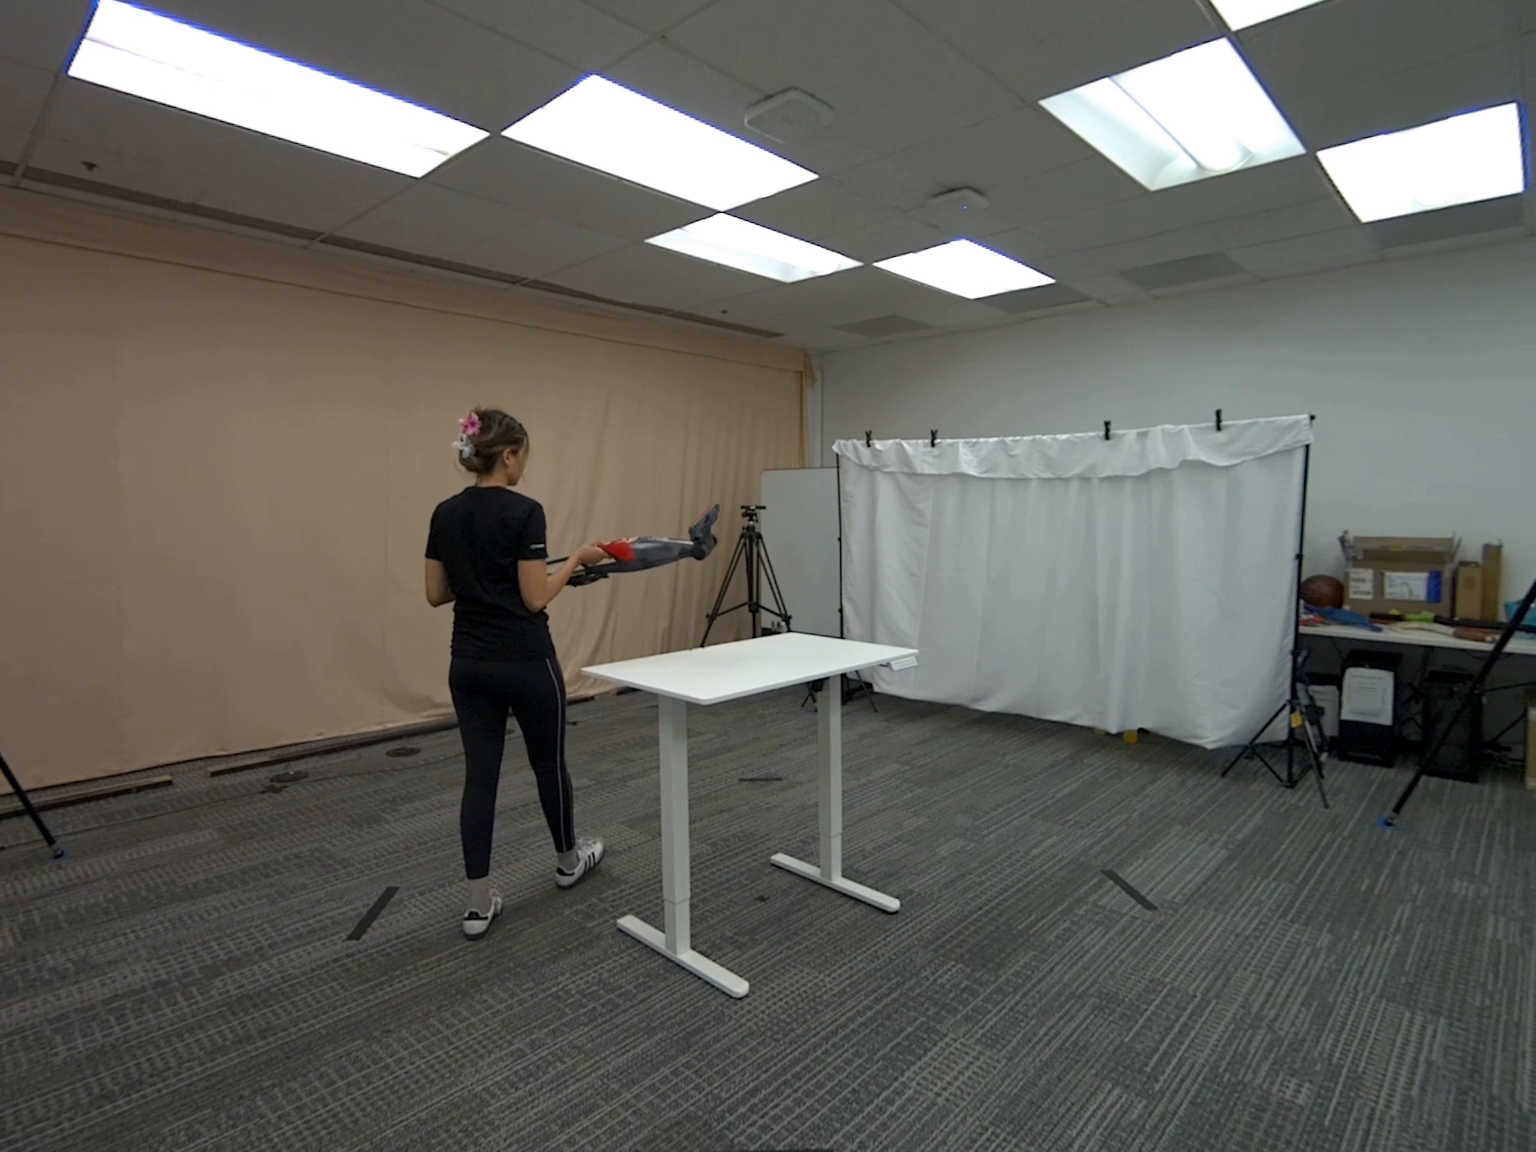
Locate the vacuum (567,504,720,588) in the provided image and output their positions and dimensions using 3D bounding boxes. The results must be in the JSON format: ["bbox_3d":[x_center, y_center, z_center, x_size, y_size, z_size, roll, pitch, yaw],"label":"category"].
[{"bbox_3d":[-0.645,-0.041,3.037,1.071,0.142,0.251,-13,17,25],"label":"vacuum"}]
